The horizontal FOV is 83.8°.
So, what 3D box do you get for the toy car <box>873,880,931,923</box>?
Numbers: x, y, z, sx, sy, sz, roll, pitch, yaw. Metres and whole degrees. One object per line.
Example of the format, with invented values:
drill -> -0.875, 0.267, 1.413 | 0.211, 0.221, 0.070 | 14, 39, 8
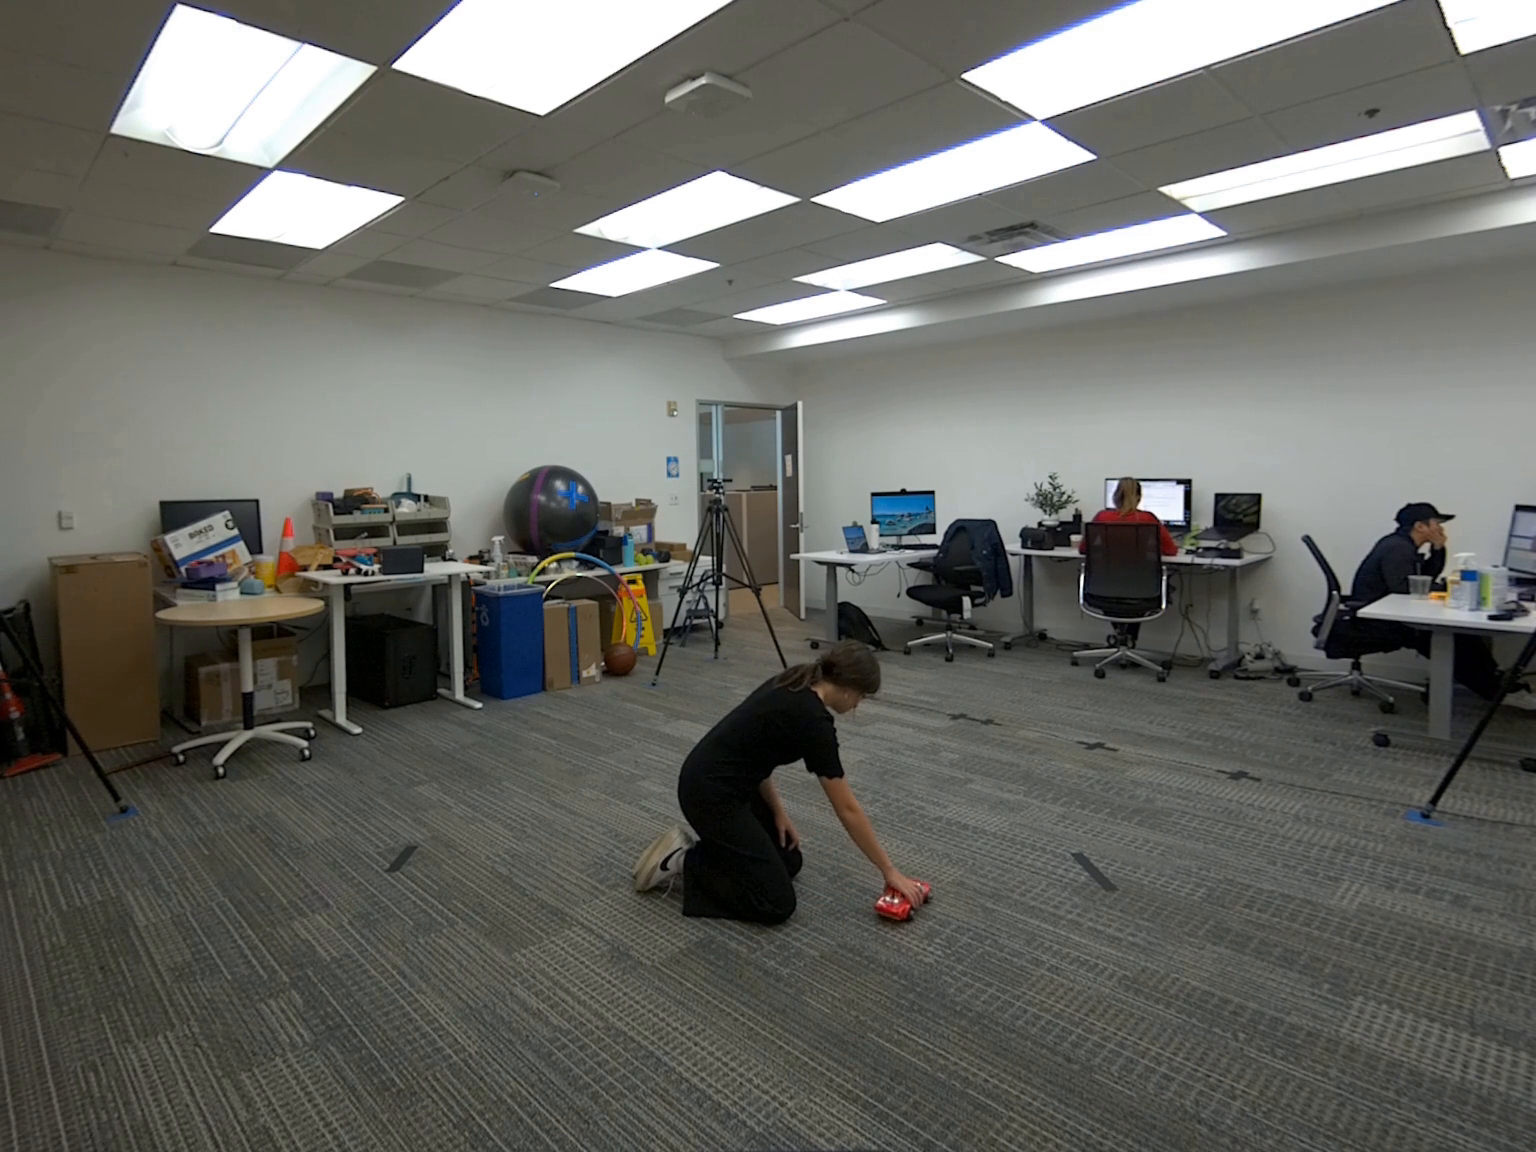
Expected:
toy car -> 0.427, 1.041, 2.749 | 0.134, 0.083, 0.246 | 4, -4, 35
